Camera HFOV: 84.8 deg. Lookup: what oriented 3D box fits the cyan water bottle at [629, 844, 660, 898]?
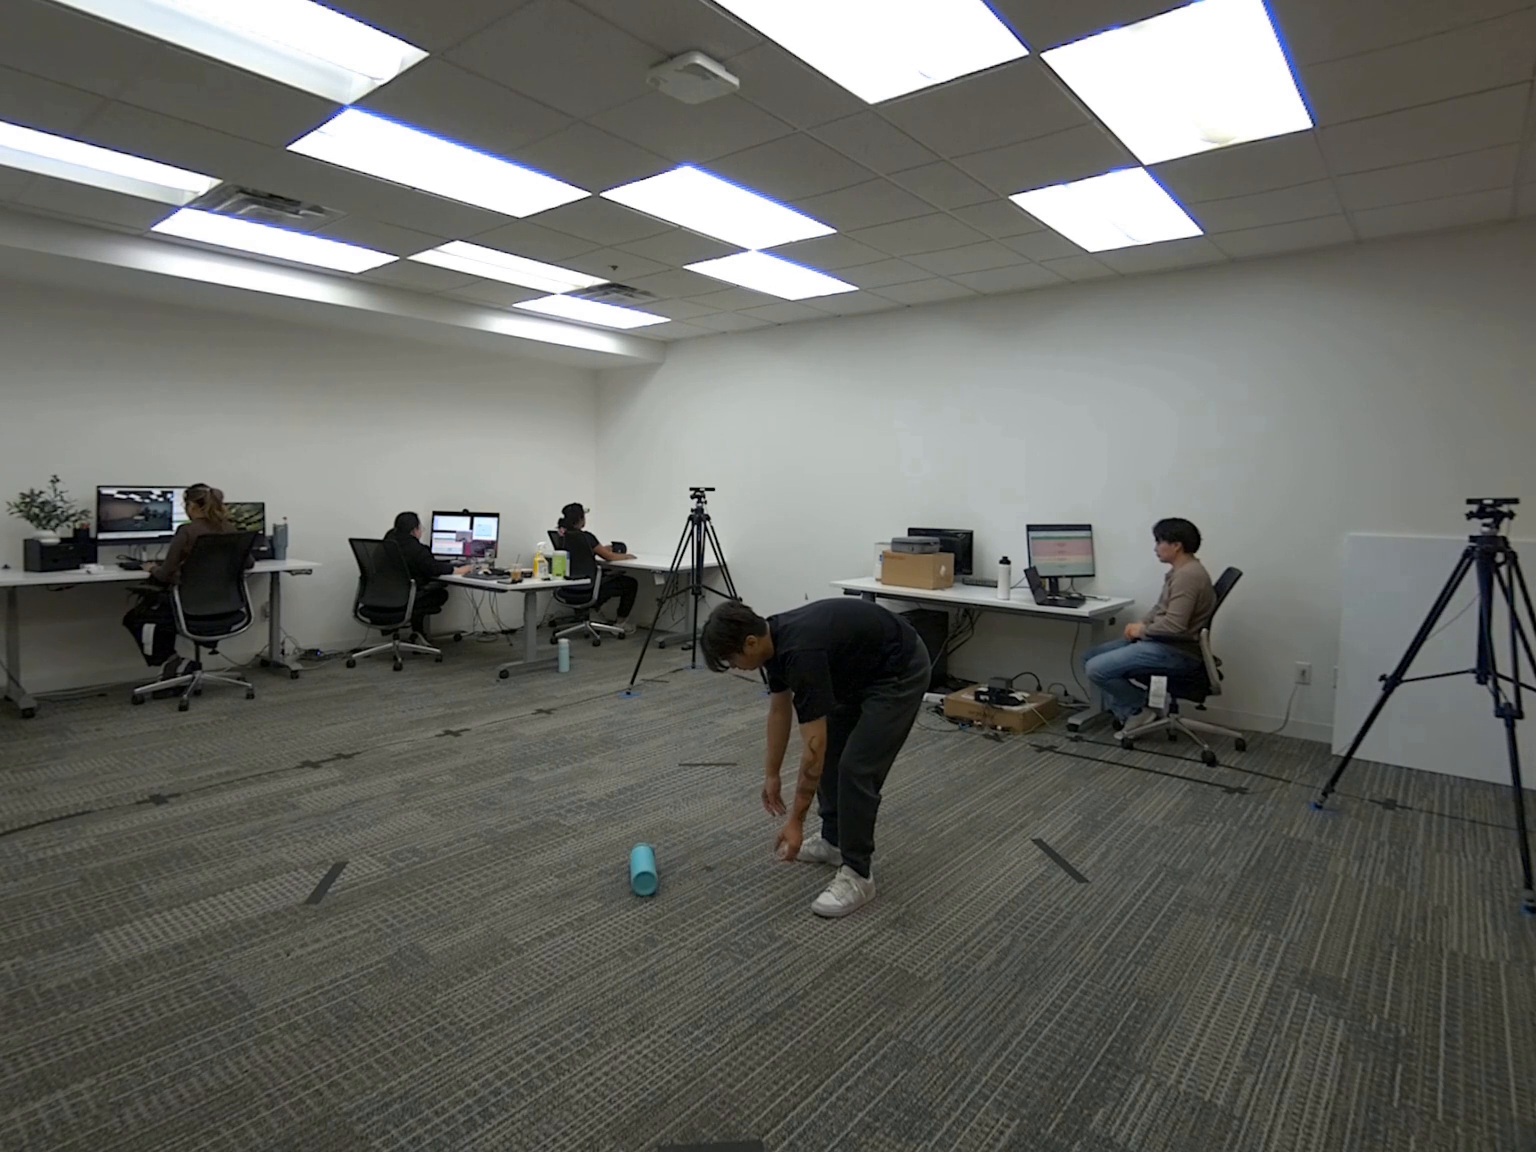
[{"bbox_3d":[-0.453,1.029,3.016,0.091,0.092,0.286,0,3,-10],"label":"cyan water bottle"}]
